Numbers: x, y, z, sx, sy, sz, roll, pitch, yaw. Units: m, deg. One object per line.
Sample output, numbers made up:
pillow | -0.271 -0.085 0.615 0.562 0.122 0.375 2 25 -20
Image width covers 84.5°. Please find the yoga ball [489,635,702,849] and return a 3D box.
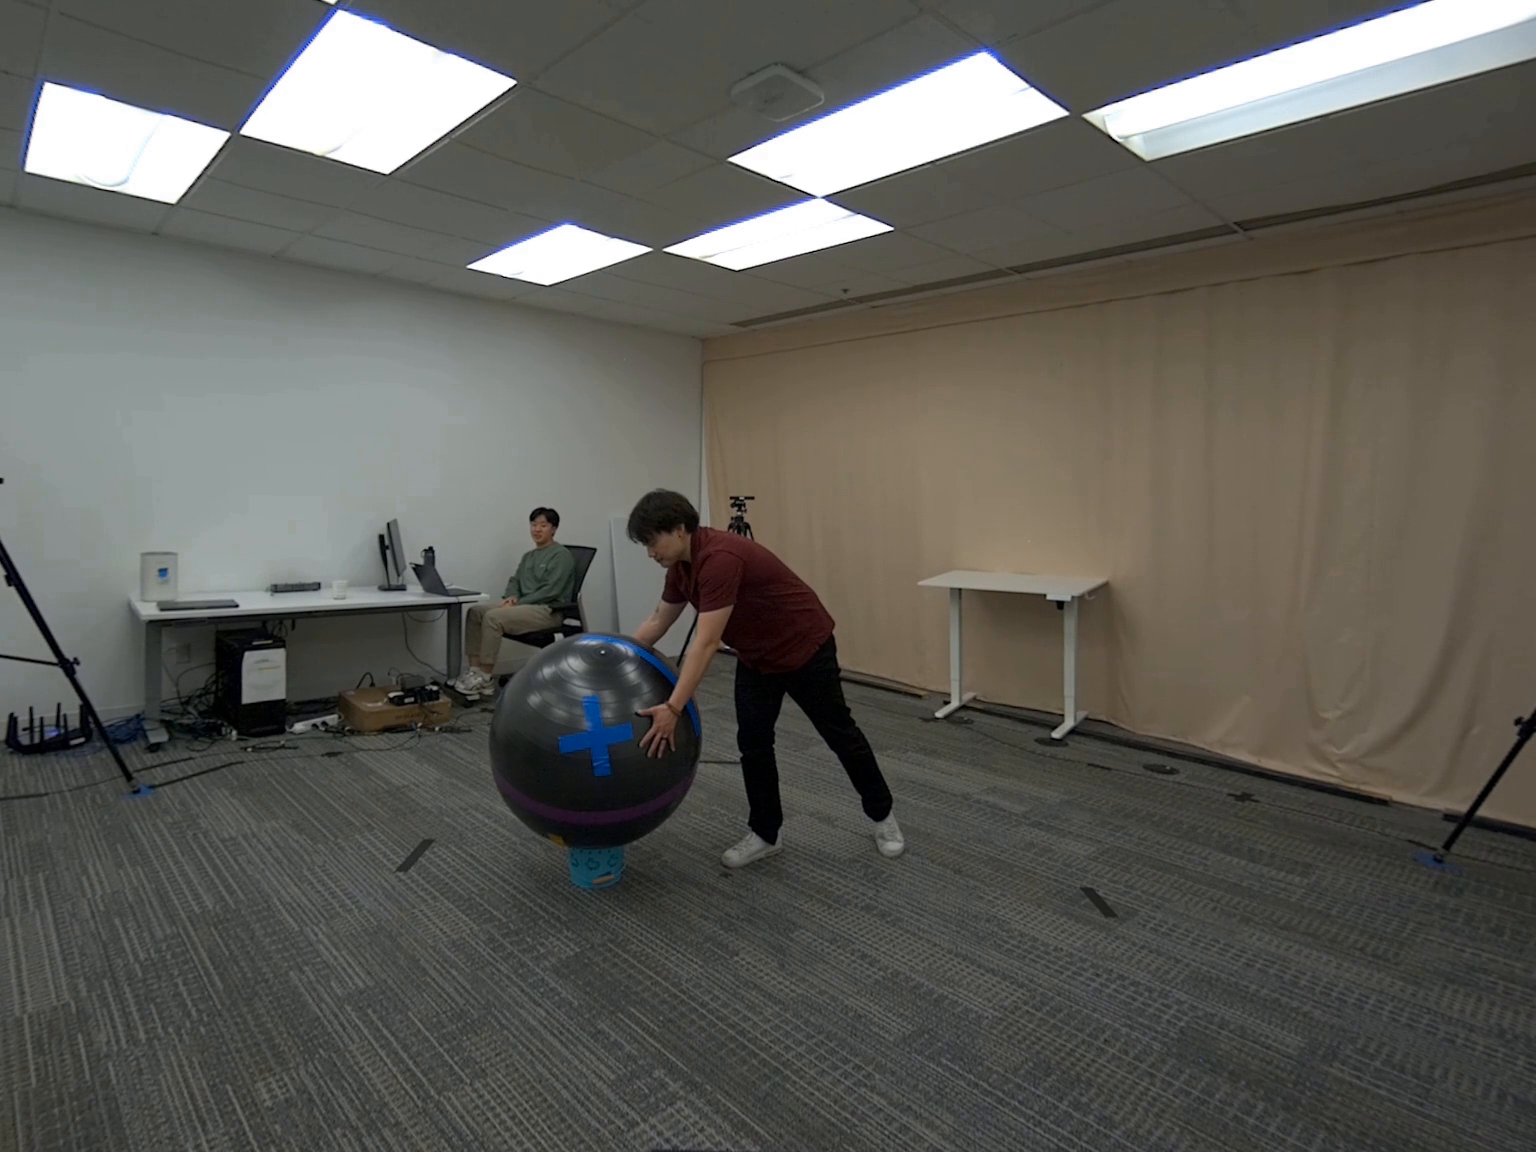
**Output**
yoga ball | -0.618 0.592 3.031 0.757 0.756 0.761 1 4 -1
